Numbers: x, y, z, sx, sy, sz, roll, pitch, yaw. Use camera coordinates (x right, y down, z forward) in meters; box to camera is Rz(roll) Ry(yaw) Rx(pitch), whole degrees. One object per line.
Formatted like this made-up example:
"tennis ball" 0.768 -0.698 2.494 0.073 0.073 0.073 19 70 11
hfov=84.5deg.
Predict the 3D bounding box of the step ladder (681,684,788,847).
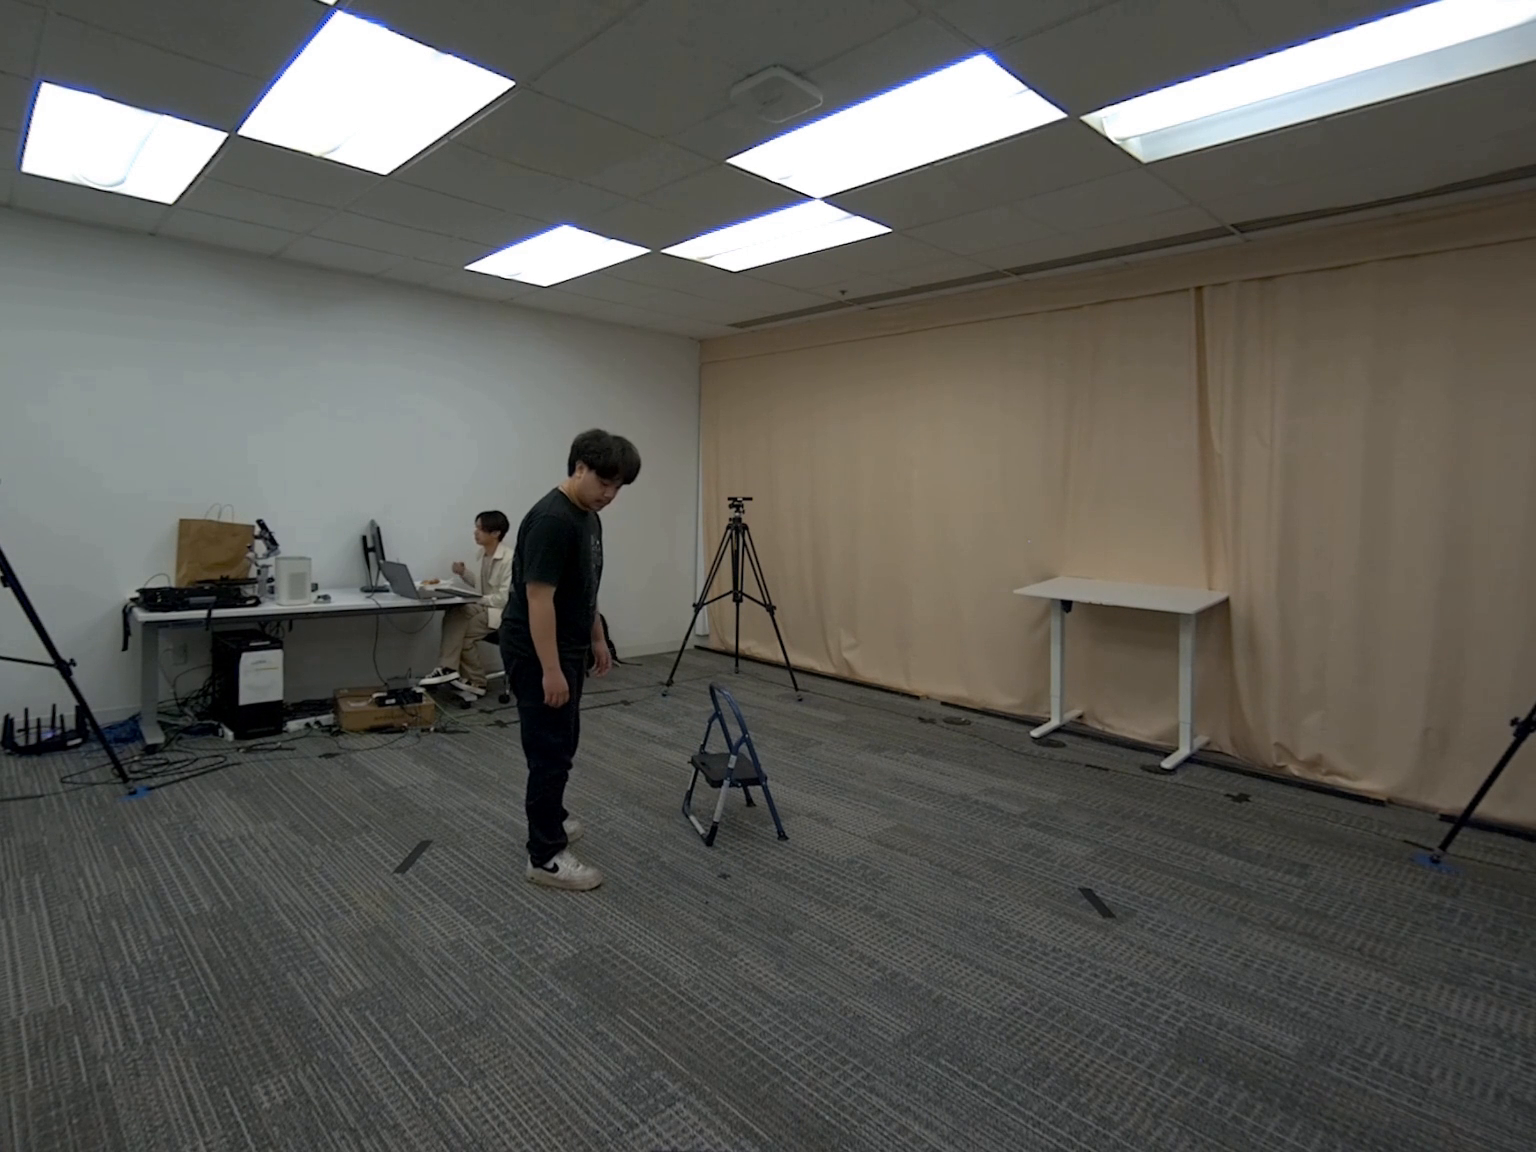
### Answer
"step ladder" -0.153 0.761 3.587 0.344 0.605 0.438 0 3 -20
